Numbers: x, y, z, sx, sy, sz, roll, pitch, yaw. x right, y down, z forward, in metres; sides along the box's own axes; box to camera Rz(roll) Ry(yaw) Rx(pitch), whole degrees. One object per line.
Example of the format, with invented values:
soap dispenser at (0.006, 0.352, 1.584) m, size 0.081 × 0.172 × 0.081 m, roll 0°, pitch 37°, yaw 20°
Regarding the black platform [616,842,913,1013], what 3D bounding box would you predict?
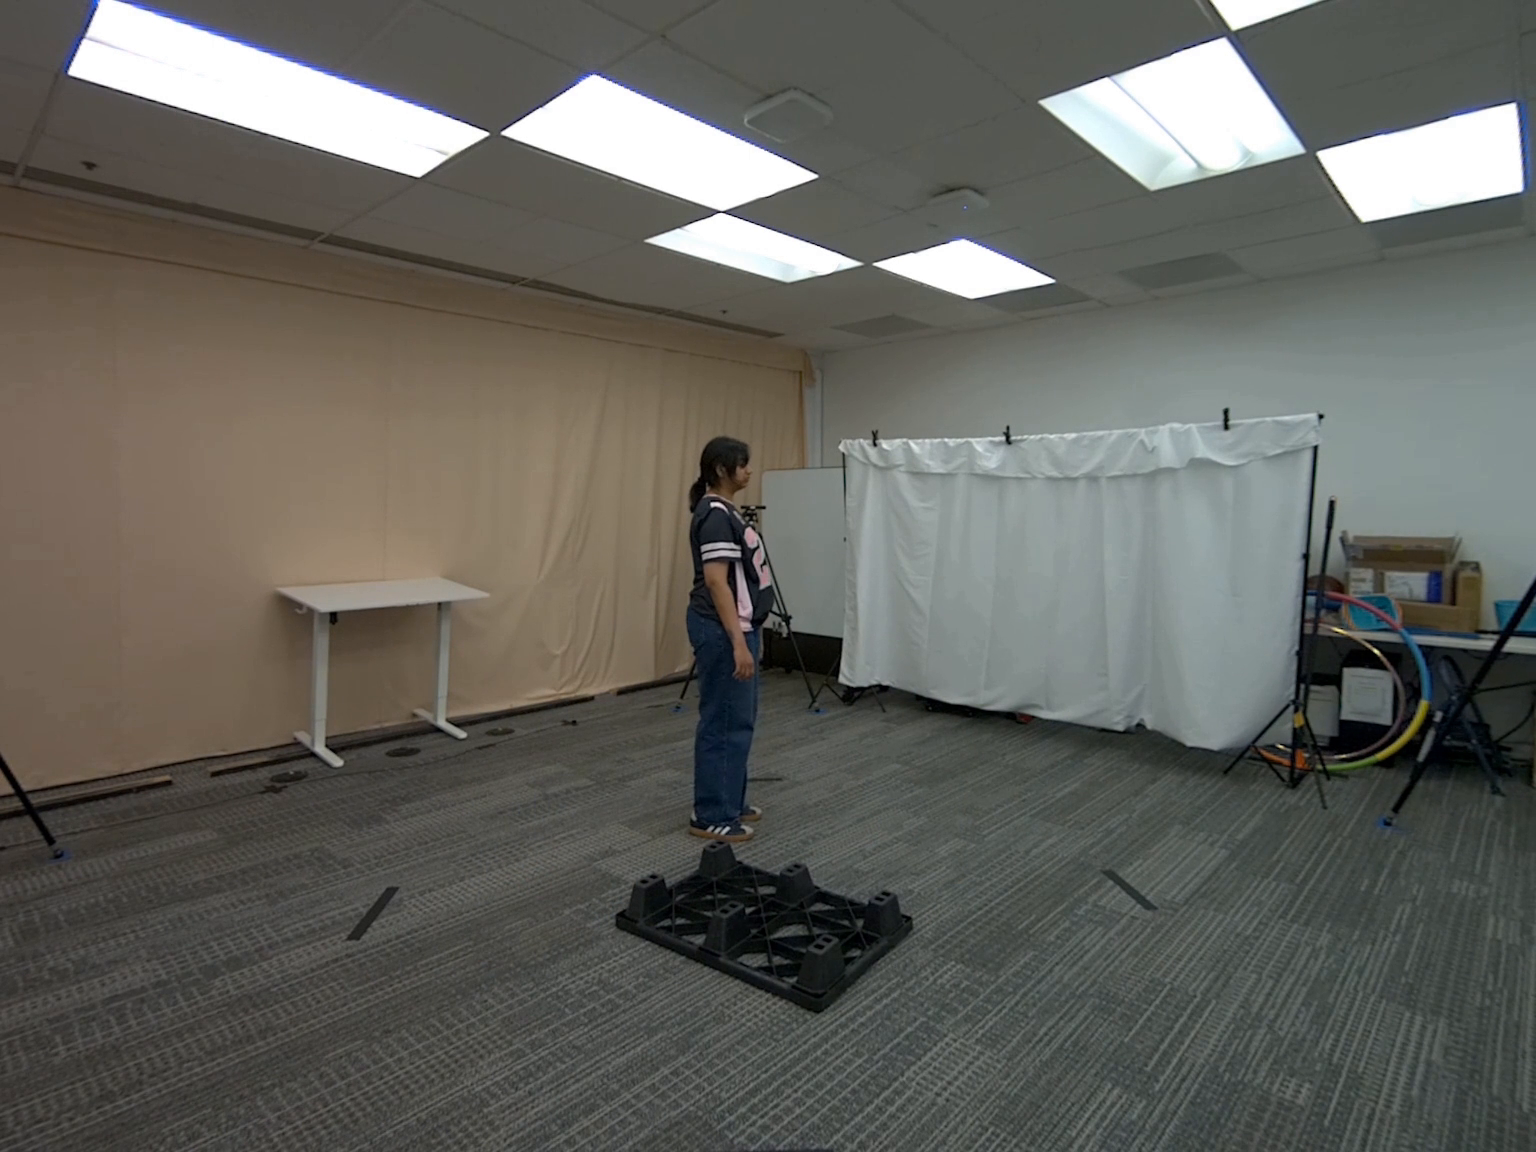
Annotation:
black platform at (-0.018, 1.096, 2.773) m, size 0.831 × 0.143 × 0.587 m, roll 3°, pitch 5°, yaw 36°
